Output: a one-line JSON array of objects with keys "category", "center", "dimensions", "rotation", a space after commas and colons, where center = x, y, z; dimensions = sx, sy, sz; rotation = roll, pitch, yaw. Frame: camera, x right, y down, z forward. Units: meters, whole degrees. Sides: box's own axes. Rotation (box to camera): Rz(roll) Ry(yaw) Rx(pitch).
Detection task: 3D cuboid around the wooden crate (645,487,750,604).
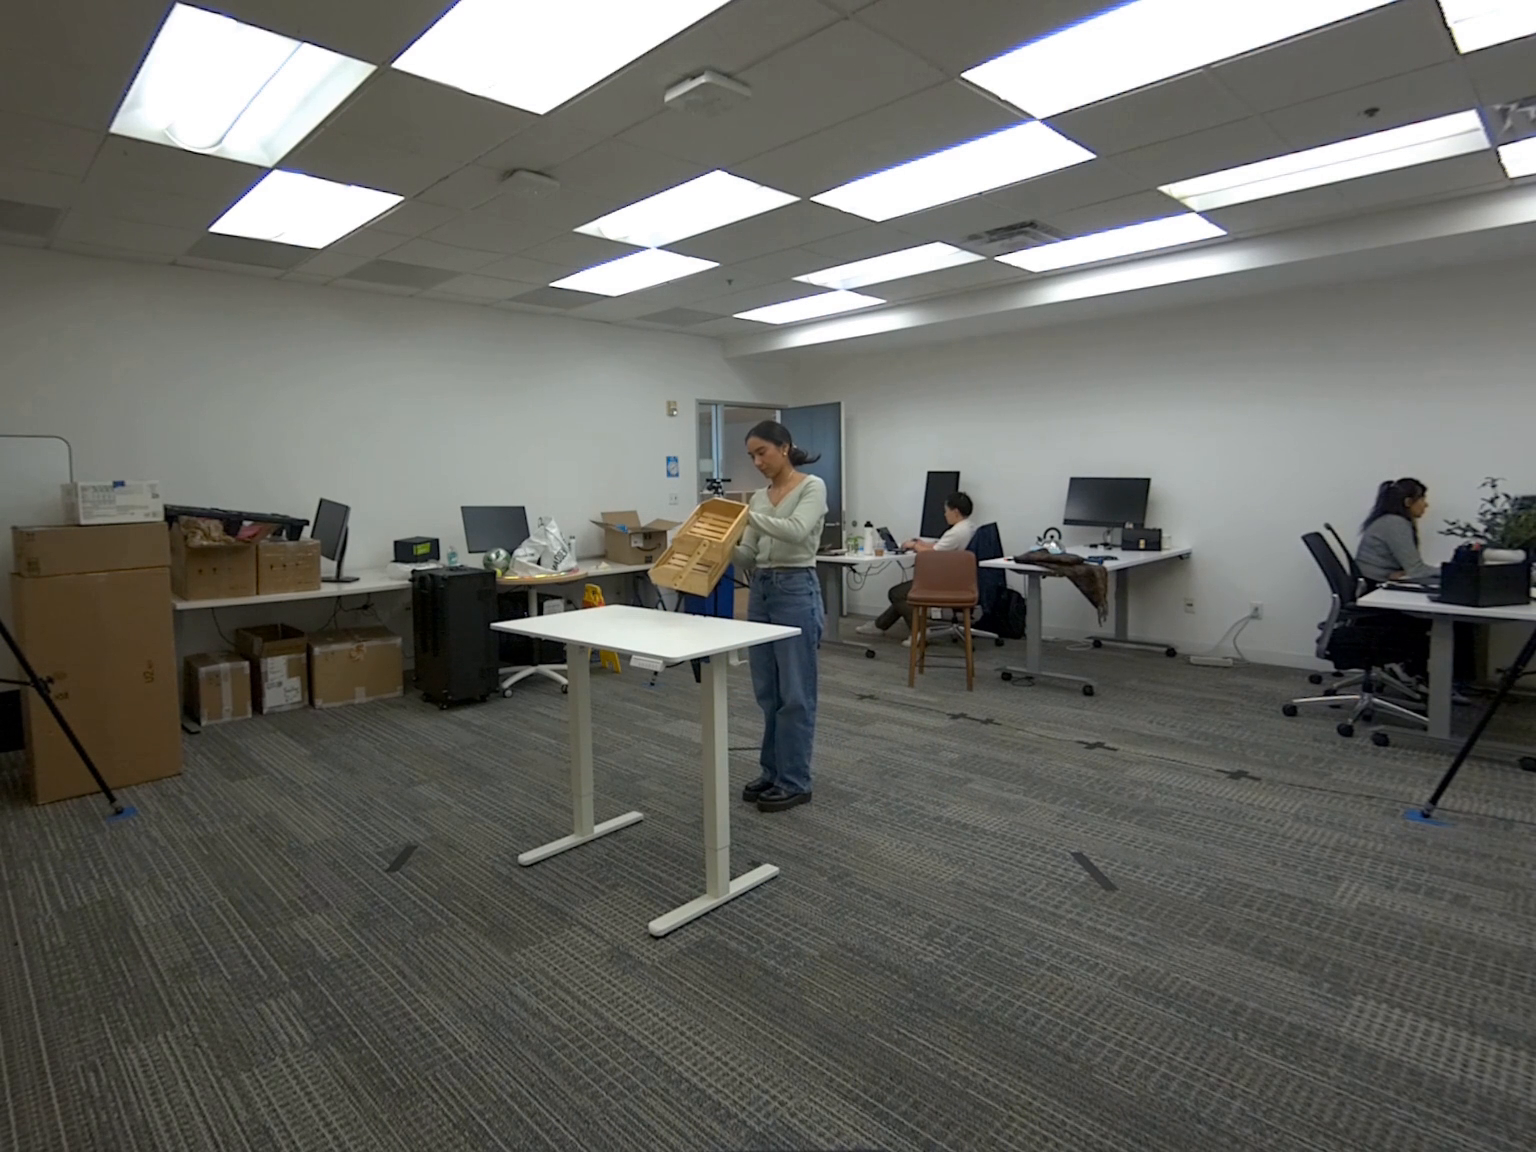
[{"category": "wooden crate", "center": [-0.273, -0.128, 3.342], "dimensions": [0.307, 0.267, 0.327], "rotation": [11, 34, 13]}]
